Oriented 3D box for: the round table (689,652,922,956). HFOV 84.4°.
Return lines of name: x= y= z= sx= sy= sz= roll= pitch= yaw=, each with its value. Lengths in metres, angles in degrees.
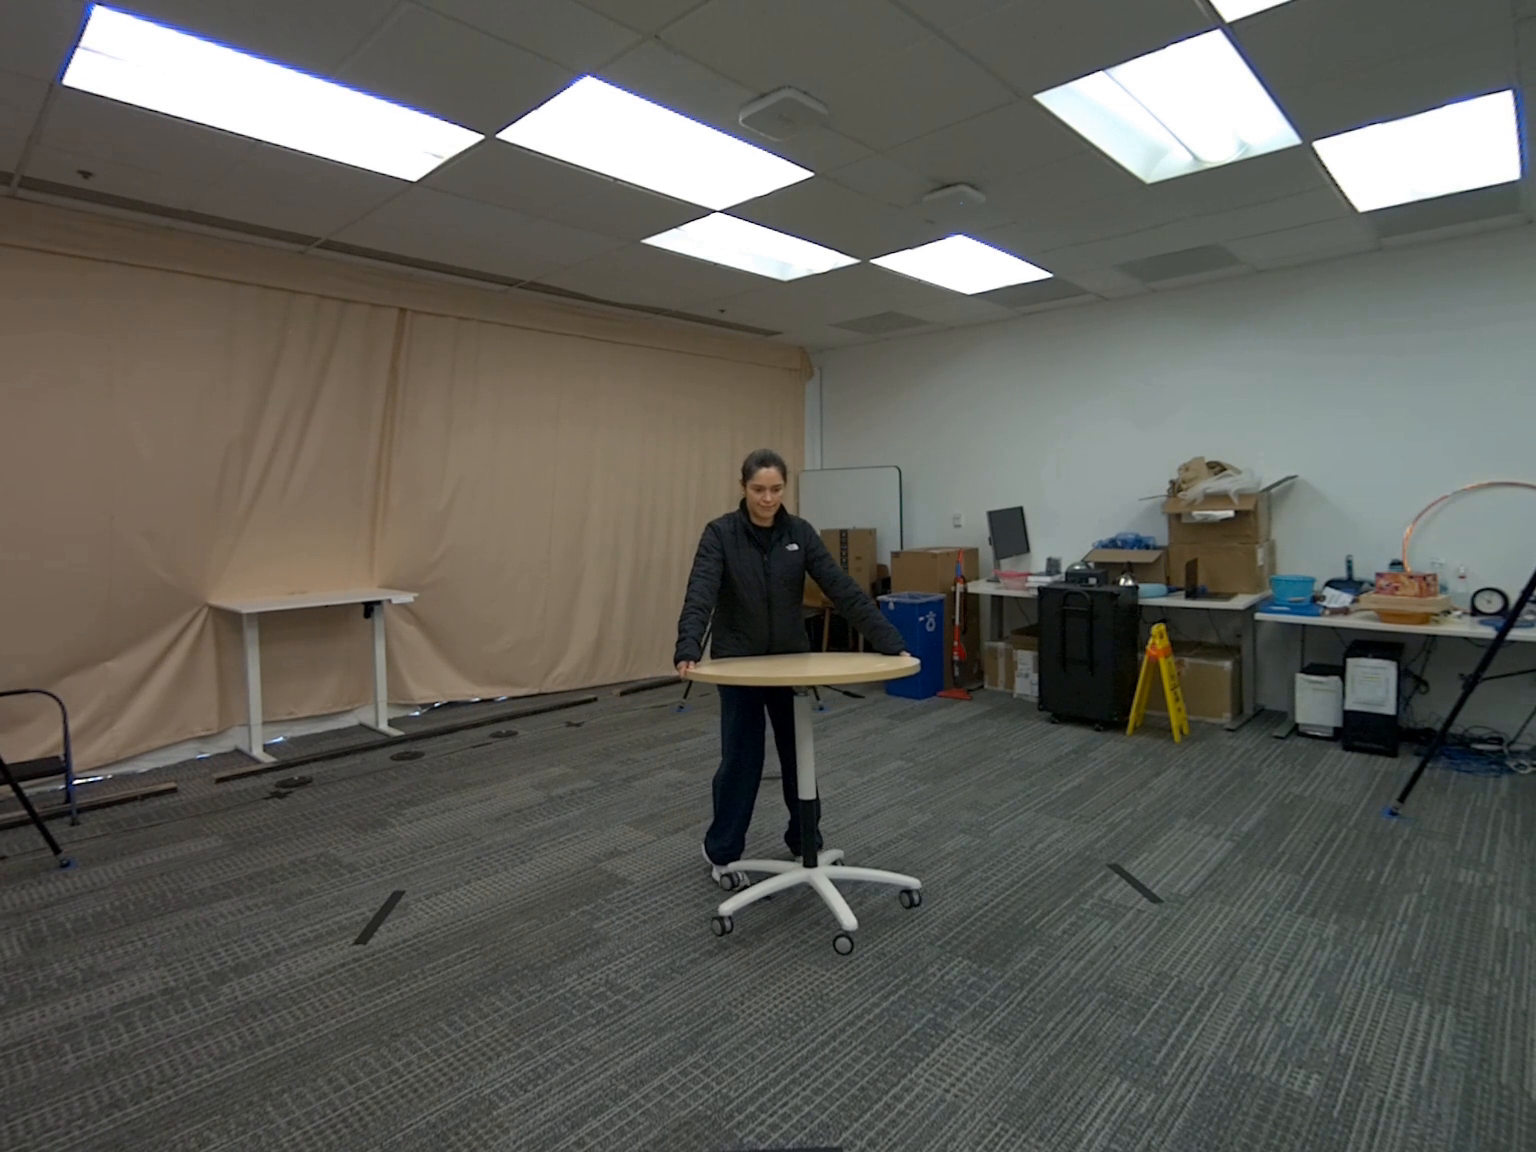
round table: x=0.123 y=0.684 z=2.767 sx=0.784 sy=0.787 sz=0.785 roll=-2 pitch=-1 yaw=-2
